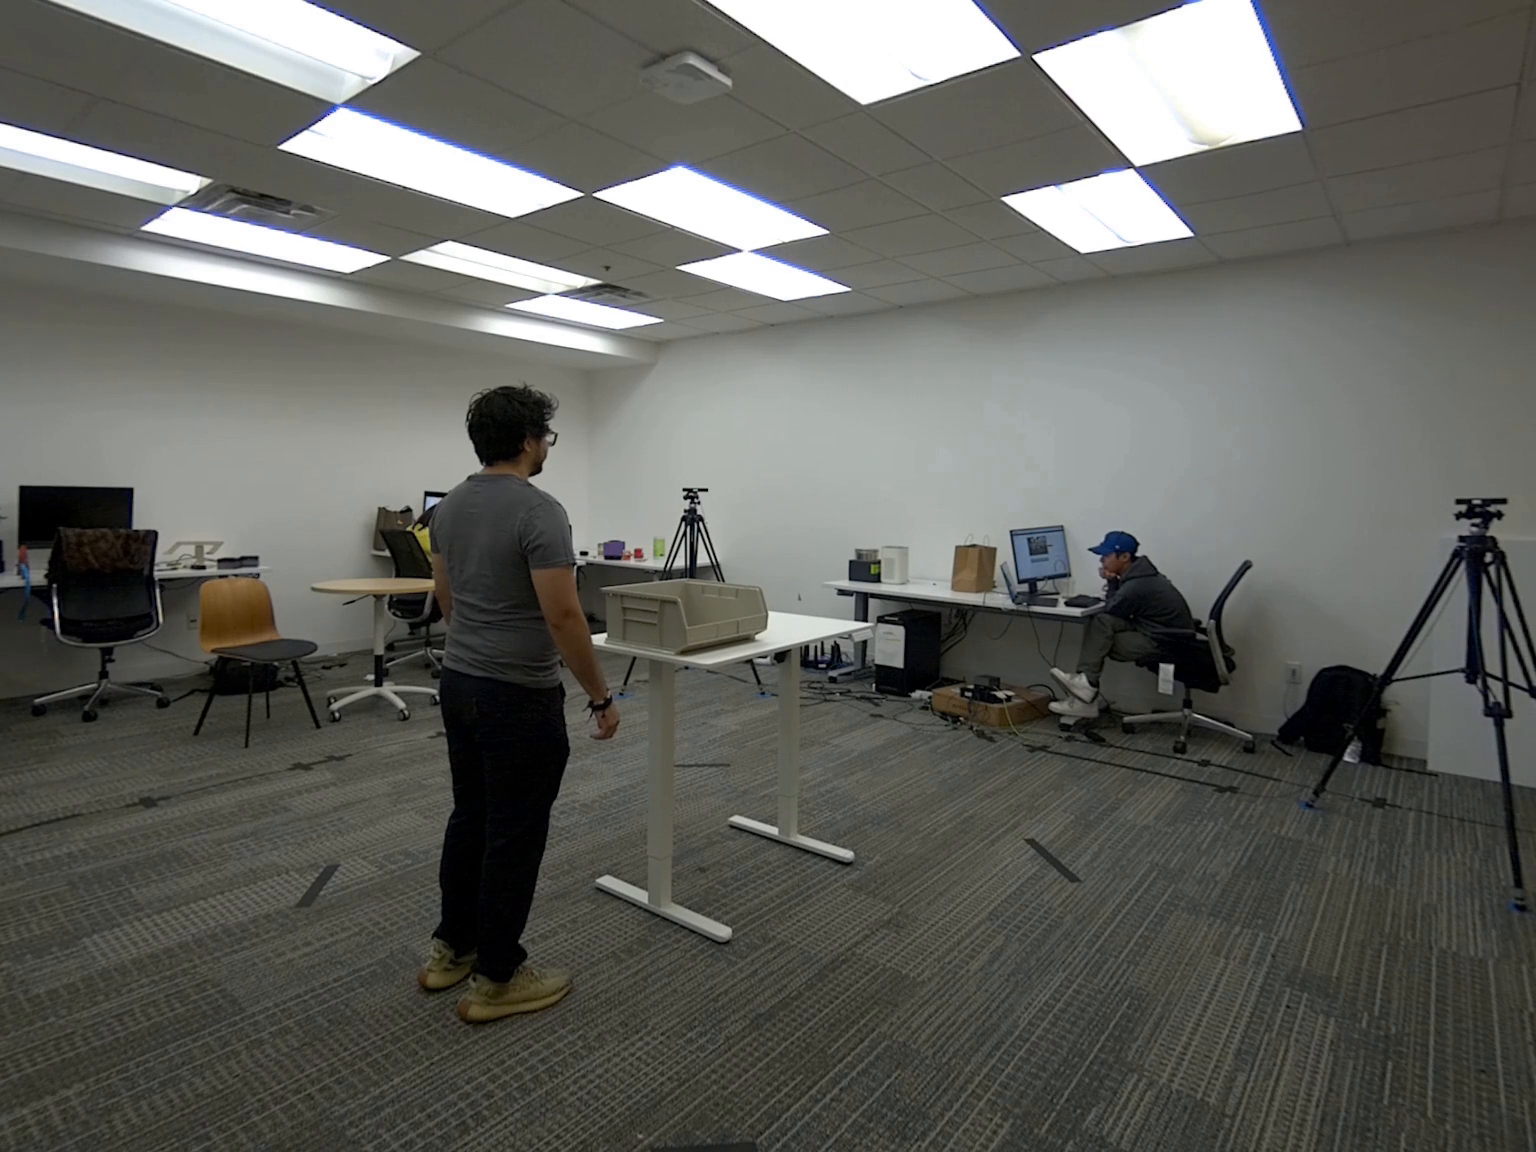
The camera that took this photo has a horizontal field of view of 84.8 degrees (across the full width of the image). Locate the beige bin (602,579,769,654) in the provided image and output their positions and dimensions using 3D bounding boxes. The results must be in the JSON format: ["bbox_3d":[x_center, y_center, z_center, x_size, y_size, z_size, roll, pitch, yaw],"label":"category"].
[{"bbox_3d":[-0.278,0.127,2.819,0.390,0.188,0.410,4,7,38],"label":"beige bin"}]
